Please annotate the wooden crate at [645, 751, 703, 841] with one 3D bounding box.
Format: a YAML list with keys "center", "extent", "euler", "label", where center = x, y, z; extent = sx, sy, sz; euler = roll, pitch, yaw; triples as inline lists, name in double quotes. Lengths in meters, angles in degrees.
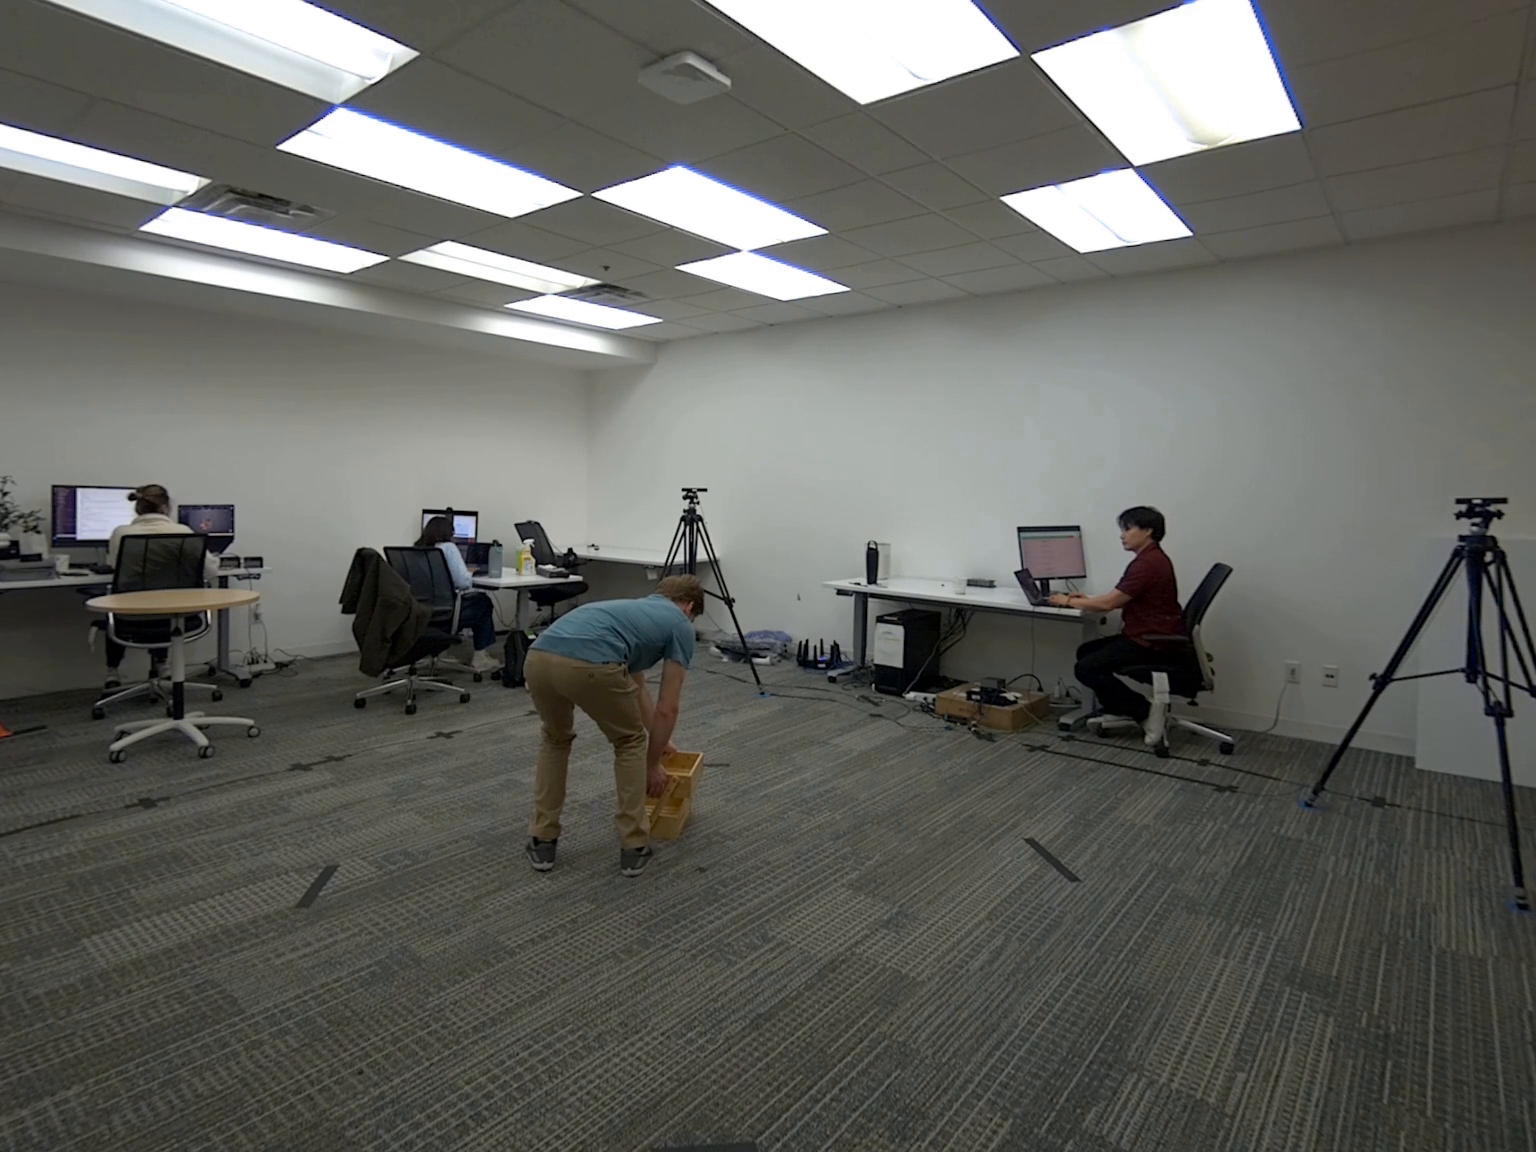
- center: [-0.460, 0.892, 3.529]
  extent: [0.304, 0.272, 0.323]
  euler: [1, 4, 7]
  label: "wooden crate"
